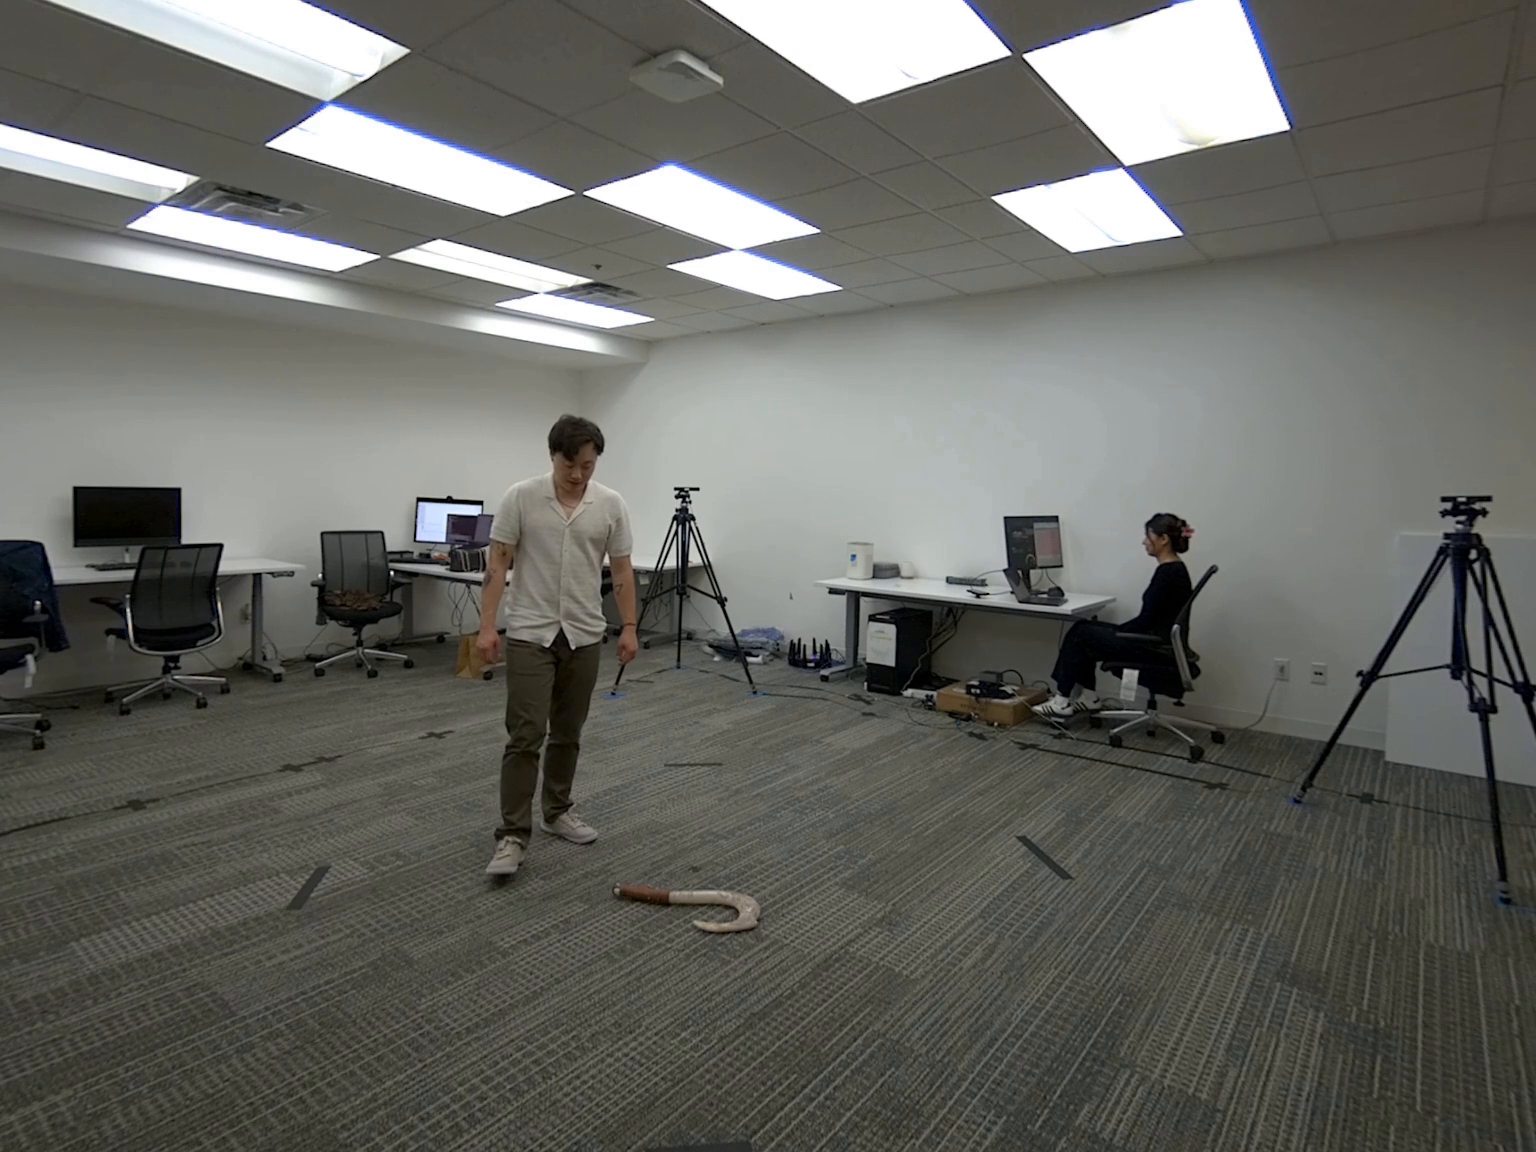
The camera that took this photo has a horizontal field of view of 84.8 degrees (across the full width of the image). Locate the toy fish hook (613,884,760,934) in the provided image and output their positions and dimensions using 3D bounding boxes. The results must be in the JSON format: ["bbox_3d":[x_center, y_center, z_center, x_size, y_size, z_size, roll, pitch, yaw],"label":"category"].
[{"bbox_3d":[-0.288,1.073,2.775,0.513,0.048,0.222,2,4,10],"label":"toy fish hook"}]
